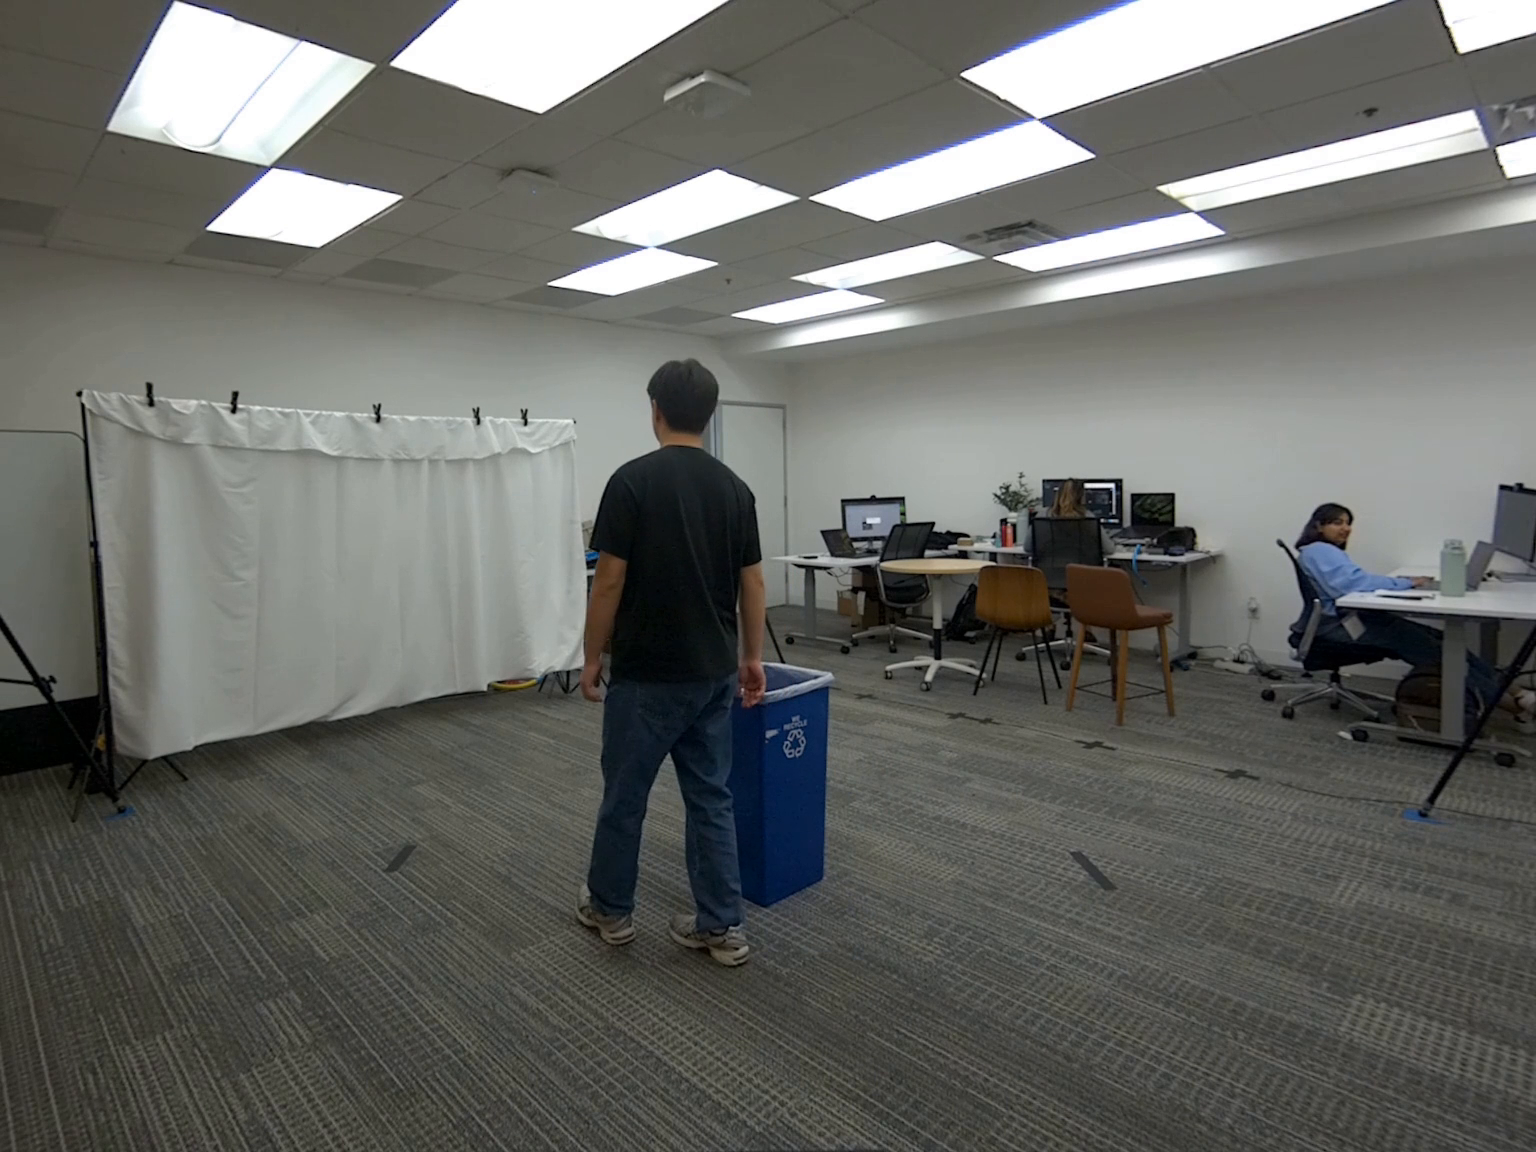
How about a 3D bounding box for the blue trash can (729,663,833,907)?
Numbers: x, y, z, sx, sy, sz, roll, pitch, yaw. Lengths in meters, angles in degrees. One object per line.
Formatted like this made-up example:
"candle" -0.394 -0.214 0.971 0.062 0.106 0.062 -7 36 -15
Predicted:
"blue trash can" -0.009 0.698 2.969 0.364 0.711 0.390 -5 6 -43
